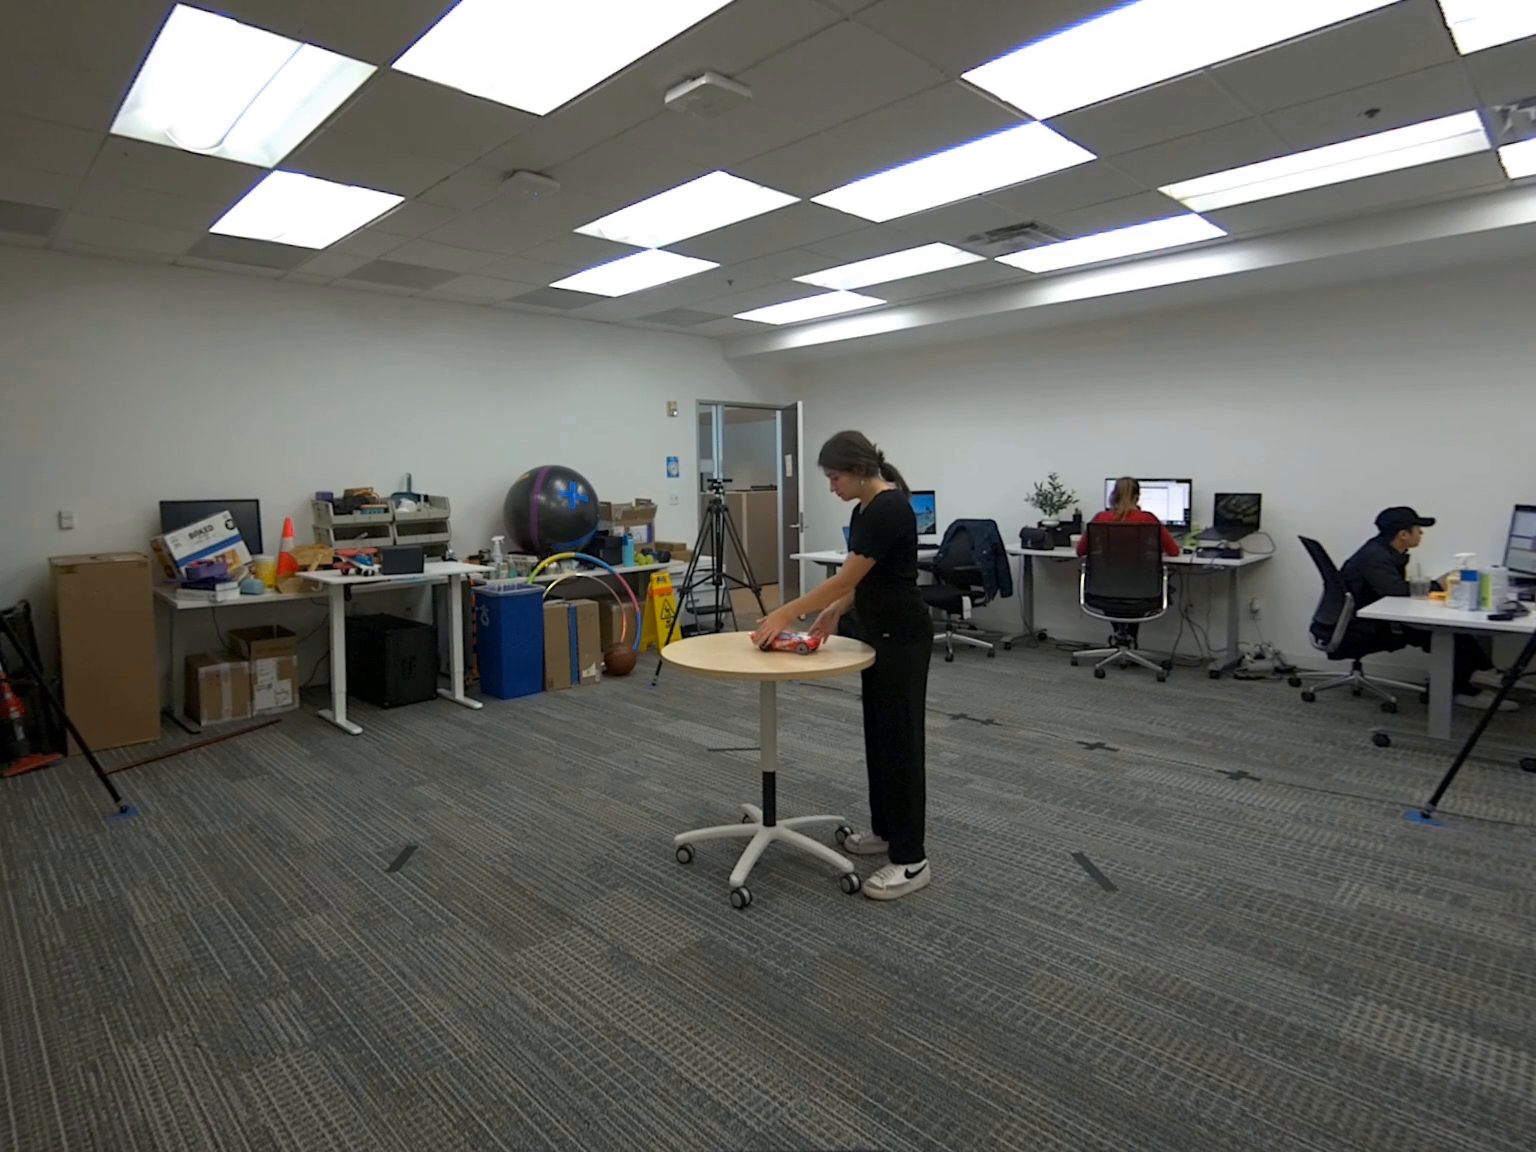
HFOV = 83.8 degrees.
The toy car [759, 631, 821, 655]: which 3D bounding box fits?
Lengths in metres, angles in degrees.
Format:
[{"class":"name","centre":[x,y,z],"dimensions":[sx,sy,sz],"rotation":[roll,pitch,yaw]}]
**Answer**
[{"class":"toy car","centre":[0.058,0.233,3.055],"dimensions":[0.262,0.082,0.127],"rotation":[14,11,27]}]
